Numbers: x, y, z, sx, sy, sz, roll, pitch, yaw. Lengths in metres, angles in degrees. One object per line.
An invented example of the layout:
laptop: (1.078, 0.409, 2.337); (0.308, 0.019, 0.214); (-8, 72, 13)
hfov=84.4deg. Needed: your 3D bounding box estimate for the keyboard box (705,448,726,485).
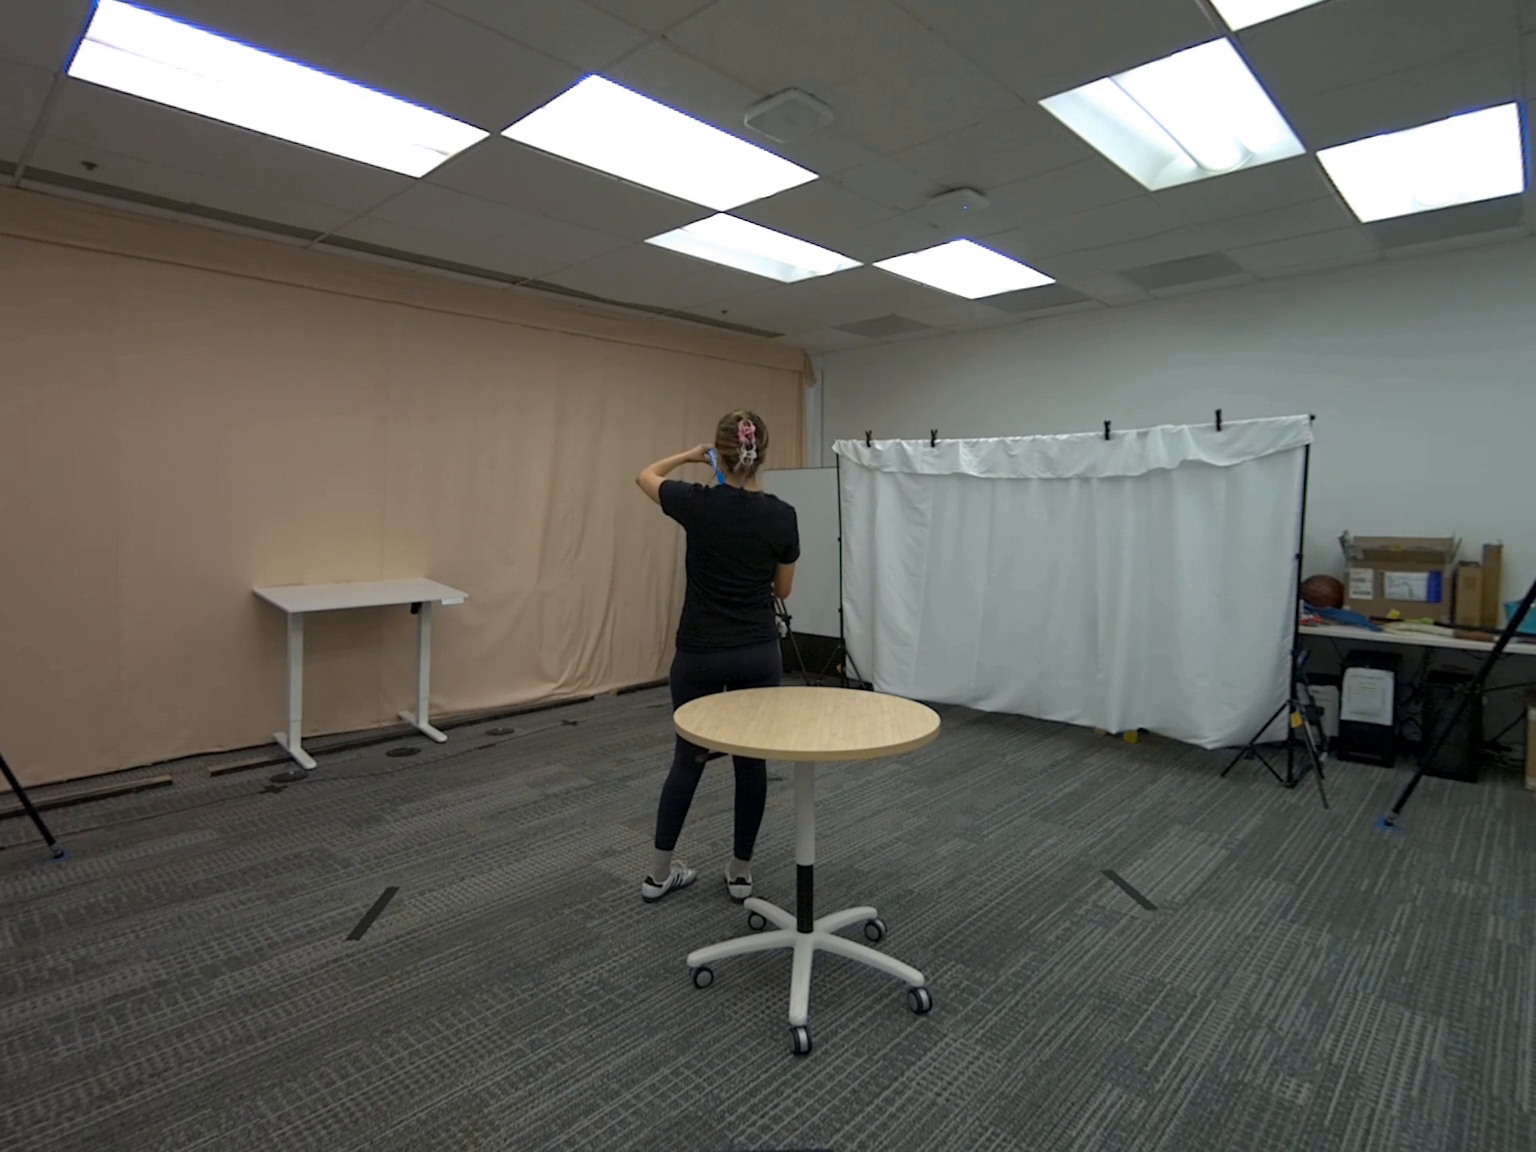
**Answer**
keyboard box: (-0.122, -0.294, 3.331); (0.059, 0.436, 0.175); (-19, 2, 8)
